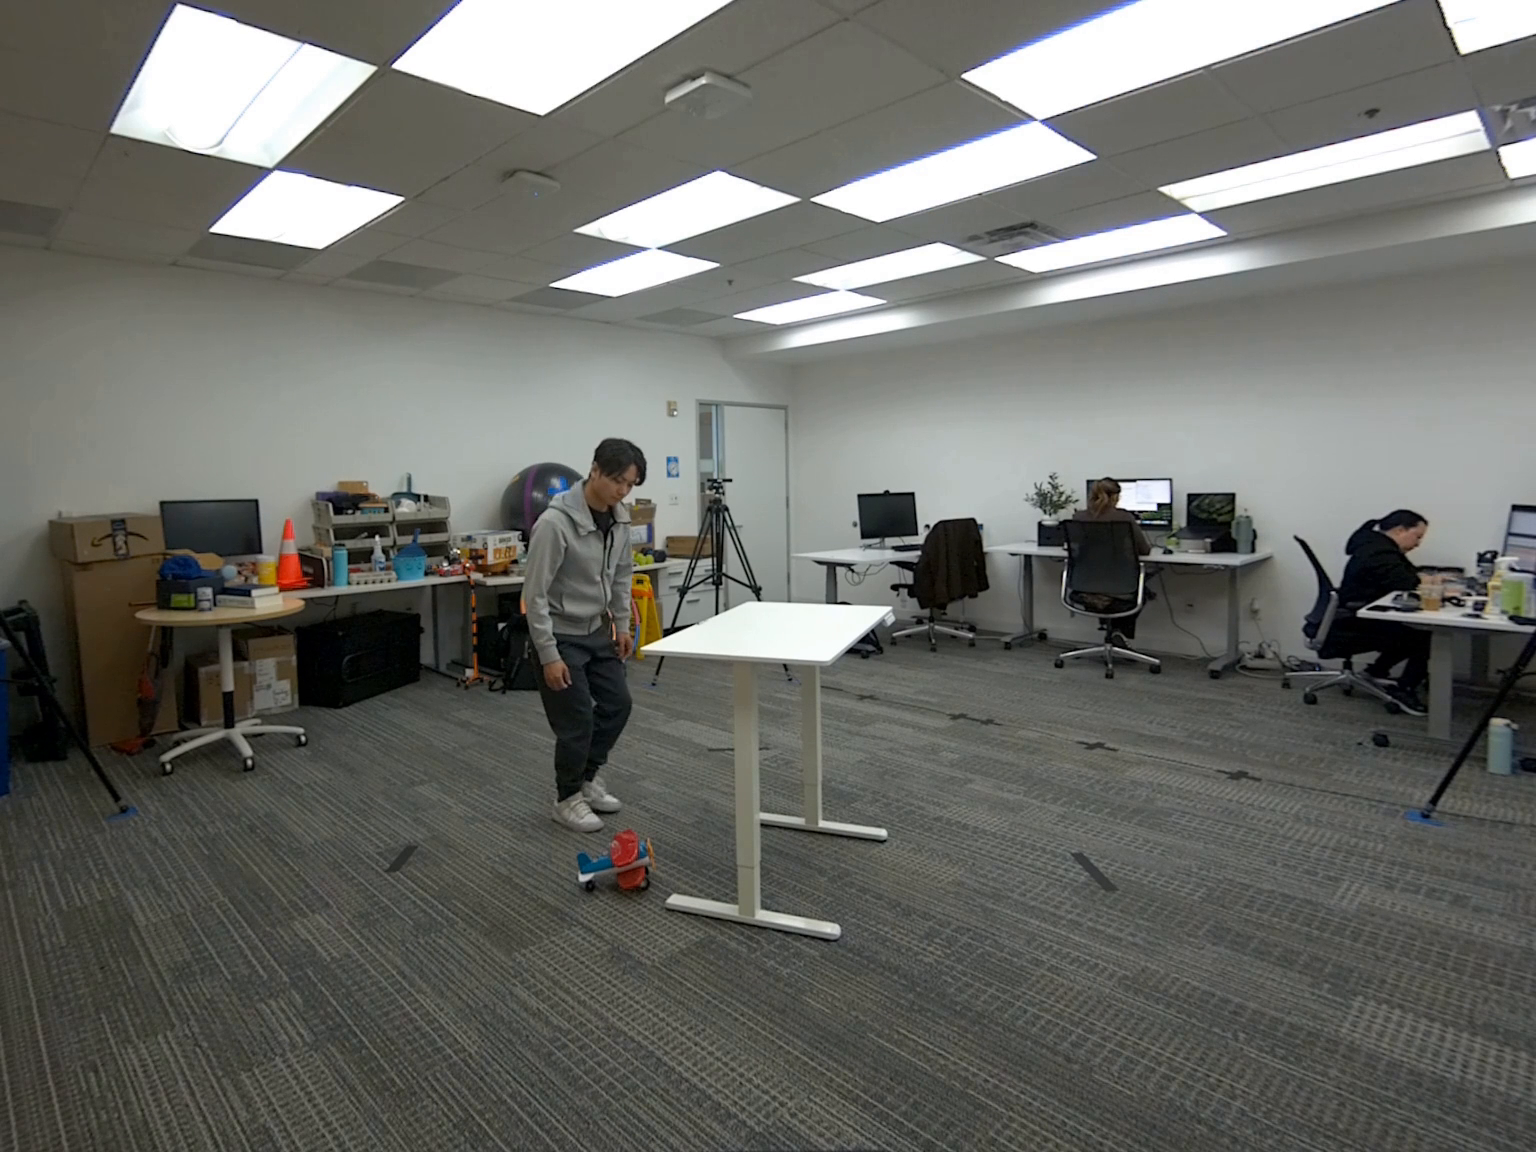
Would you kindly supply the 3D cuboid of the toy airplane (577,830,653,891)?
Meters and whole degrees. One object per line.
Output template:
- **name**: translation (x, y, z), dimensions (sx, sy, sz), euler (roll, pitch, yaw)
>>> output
- **toy airplane**: translation (-0.514, 0.998, 2.926), dimensions (0.253, 0.156, 0.259), euler (-5, 7, -37)
